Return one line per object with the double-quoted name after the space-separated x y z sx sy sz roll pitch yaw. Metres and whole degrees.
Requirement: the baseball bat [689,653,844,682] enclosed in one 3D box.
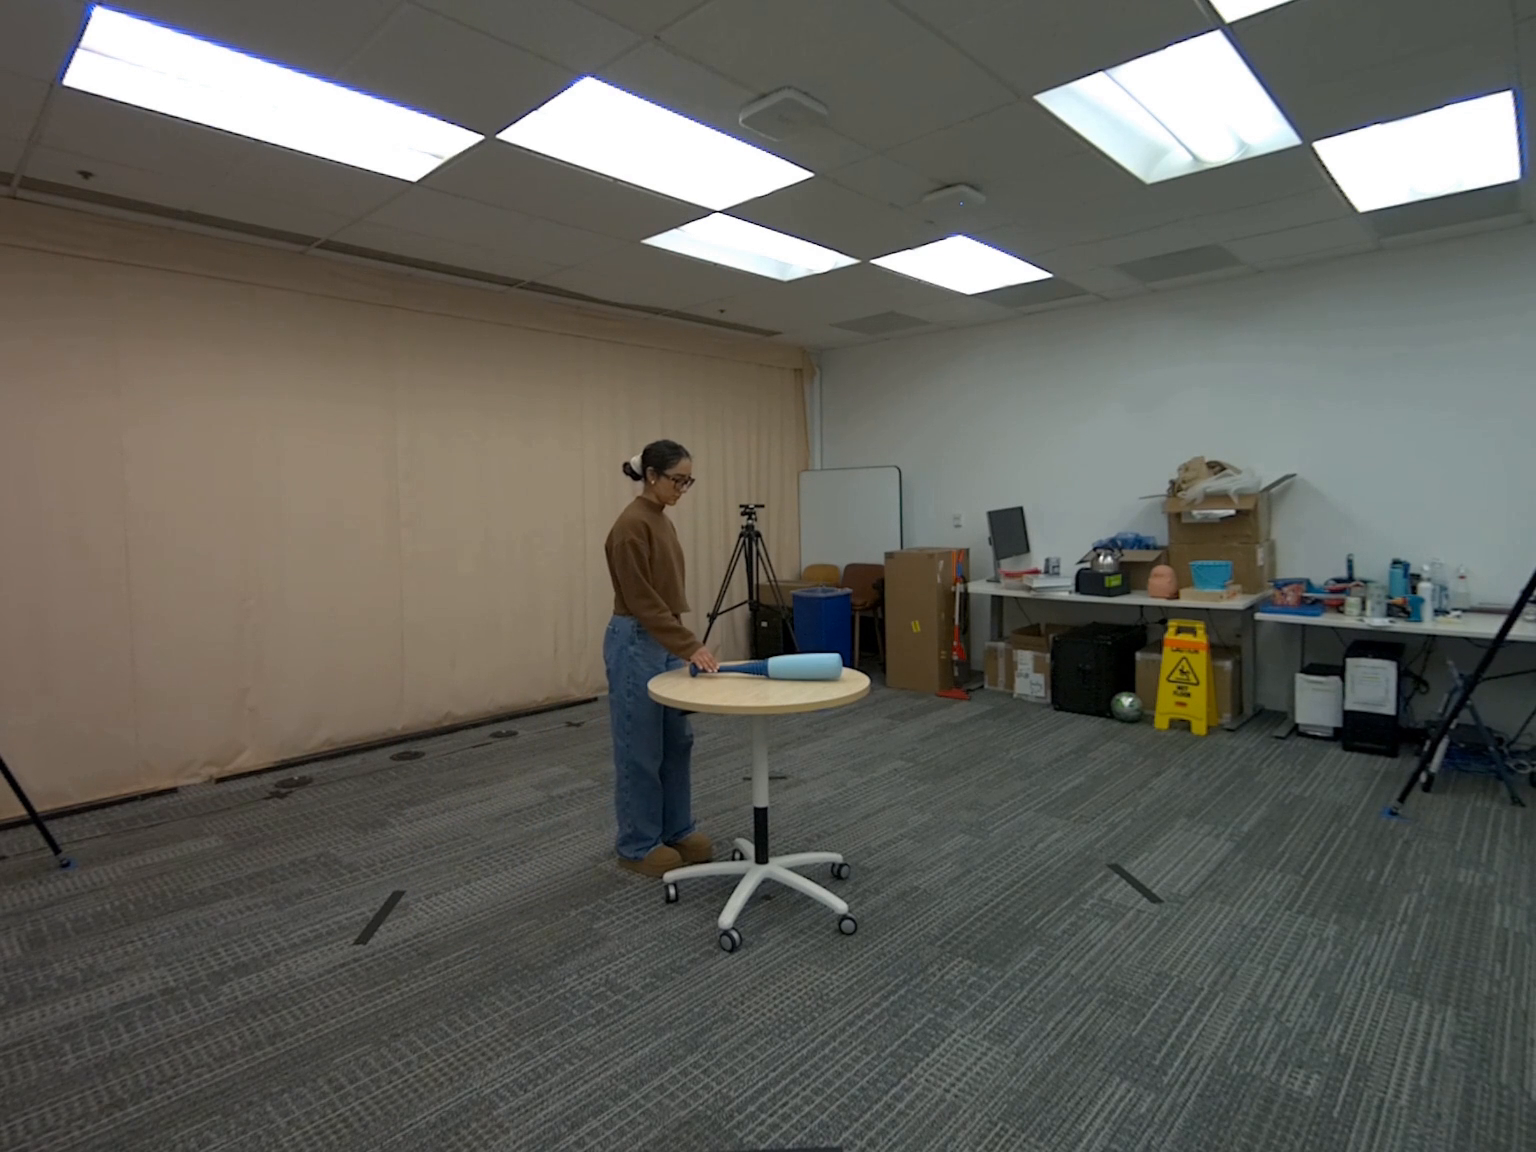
-0.010 0.324 2.943 0.551 0.089 0.088 -4 3 14 "baseball bat"
